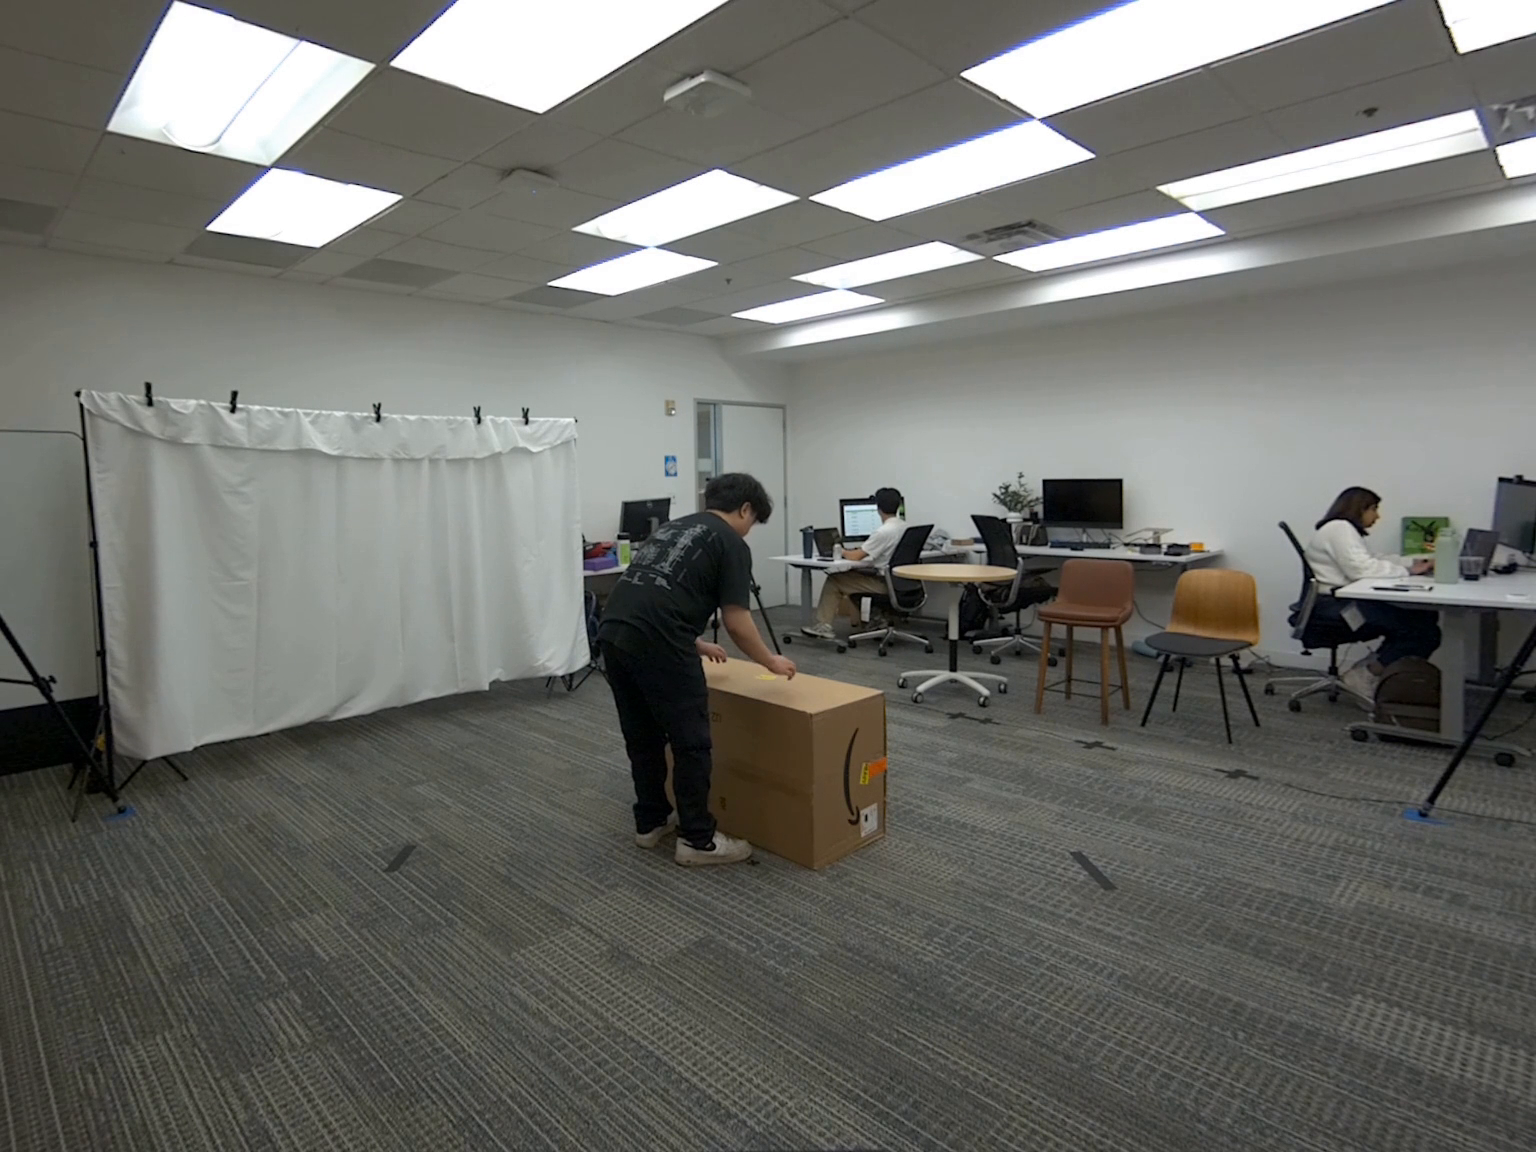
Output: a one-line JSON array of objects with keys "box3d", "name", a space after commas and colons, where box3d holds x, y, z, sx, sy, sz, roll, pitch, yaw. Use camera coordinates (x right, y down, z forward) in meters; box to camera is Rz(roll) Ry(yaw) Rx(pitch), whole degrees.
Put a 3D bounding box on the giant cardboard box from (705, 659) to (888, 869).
[{"box3d": [-0.054, 0.709, 3.532, 0.435, 0.582, 1.059, -4, 7, -44], "name": "giant cardboard box"}]
